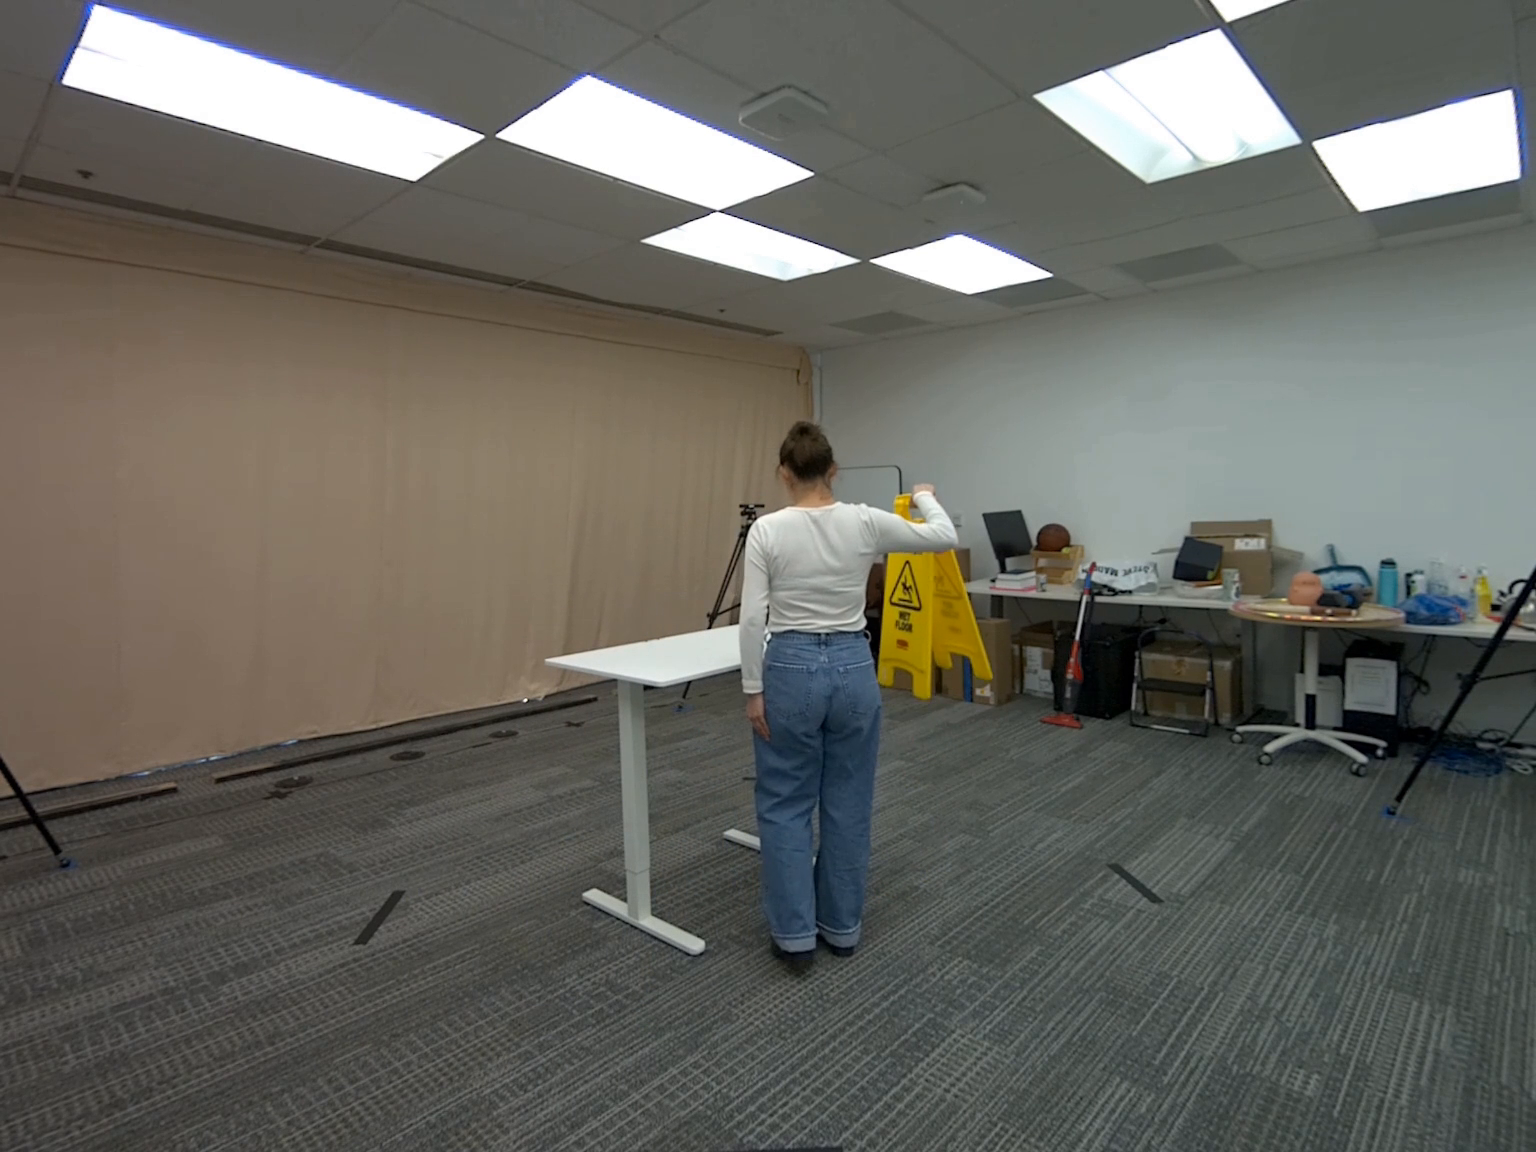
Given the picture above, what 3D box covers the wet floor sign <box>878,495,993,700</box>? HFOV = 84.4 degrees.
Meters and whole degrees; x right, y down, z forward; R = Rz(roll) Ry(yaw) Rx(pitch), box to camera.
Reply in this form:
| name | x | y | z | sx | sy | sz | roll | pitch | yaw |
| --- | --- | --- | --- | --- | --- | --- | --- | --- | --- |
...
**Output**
| name | x | y | z | sx | sy | sz | roll | pitch | yaw |
| --- | --- | --- | --- | --- | --- | --- | --- | --- | --- |
| wet floor sign | 0.535 | 0.046 | 2.847 | 0.284 | 0.643 | 0.290 | -10 | 7 | -25 |
